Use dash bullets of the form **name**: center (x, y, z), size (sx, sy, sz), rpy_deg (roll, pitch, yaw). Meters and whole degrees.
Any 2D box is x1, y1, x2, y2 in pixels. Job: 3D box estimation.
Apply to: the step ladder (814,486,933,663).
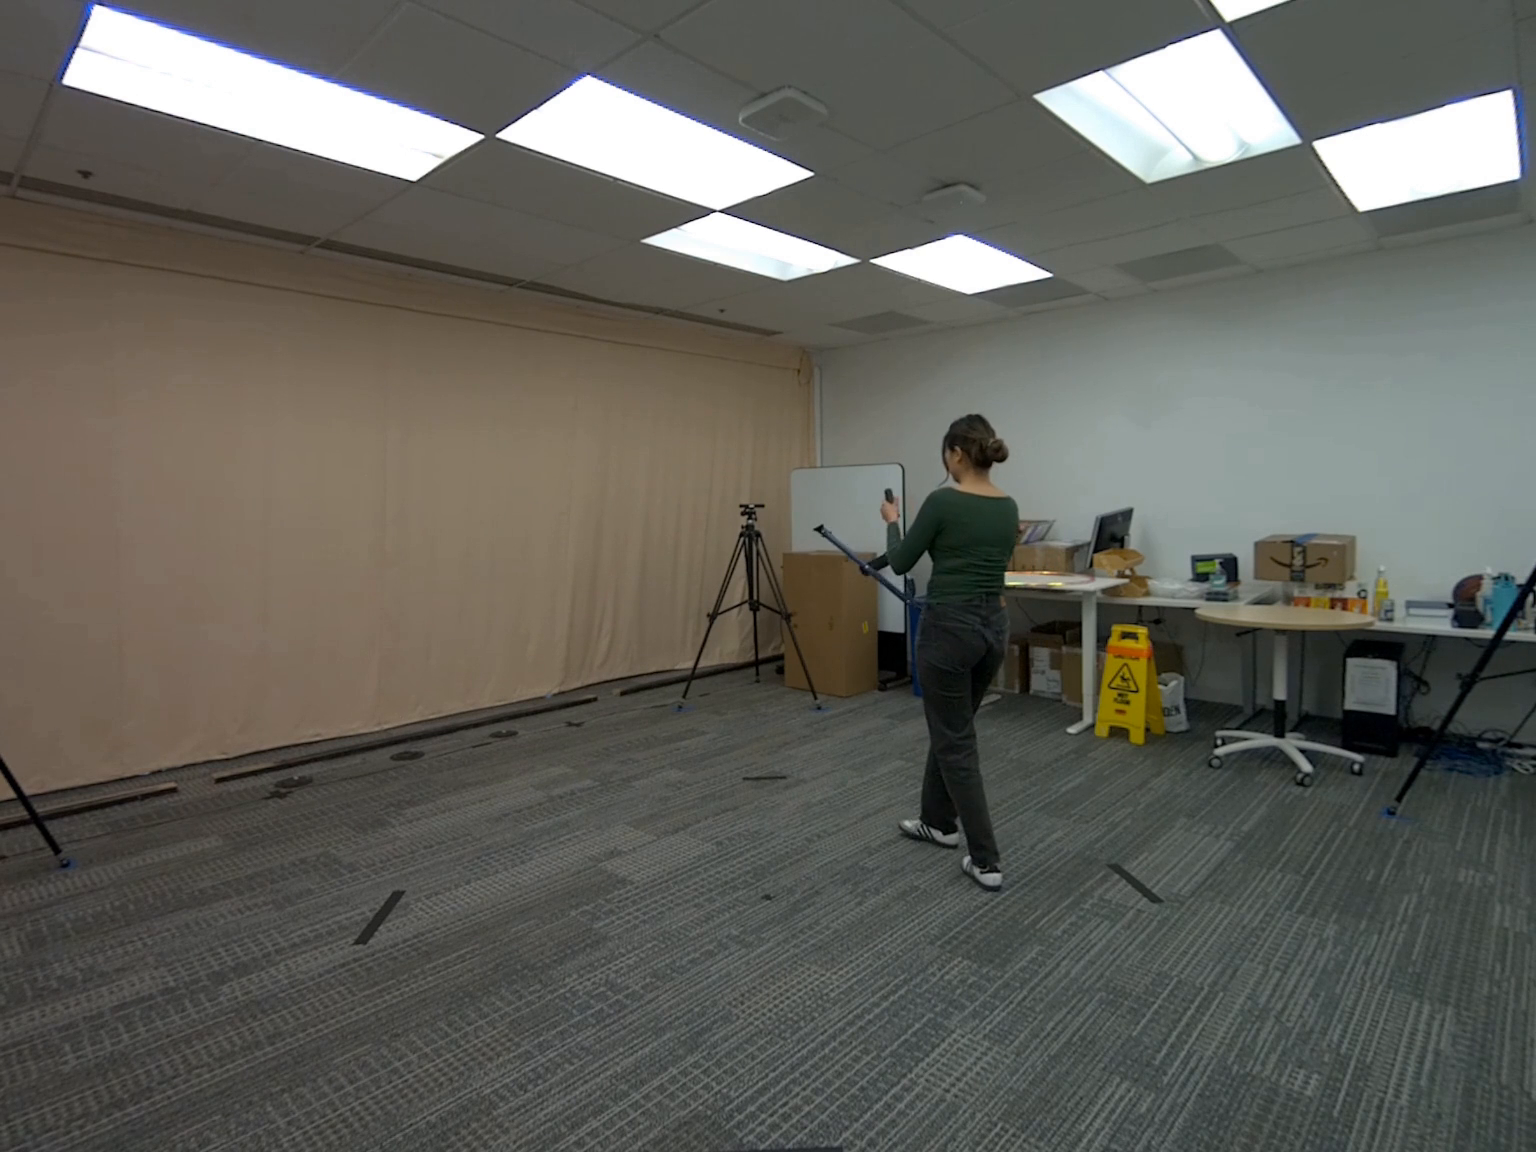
- **step ladder**: center (0.516, -0.008, 3.571), size (0.351, 0.611, 0.424), rpy_deg (-29, -7, 9)
